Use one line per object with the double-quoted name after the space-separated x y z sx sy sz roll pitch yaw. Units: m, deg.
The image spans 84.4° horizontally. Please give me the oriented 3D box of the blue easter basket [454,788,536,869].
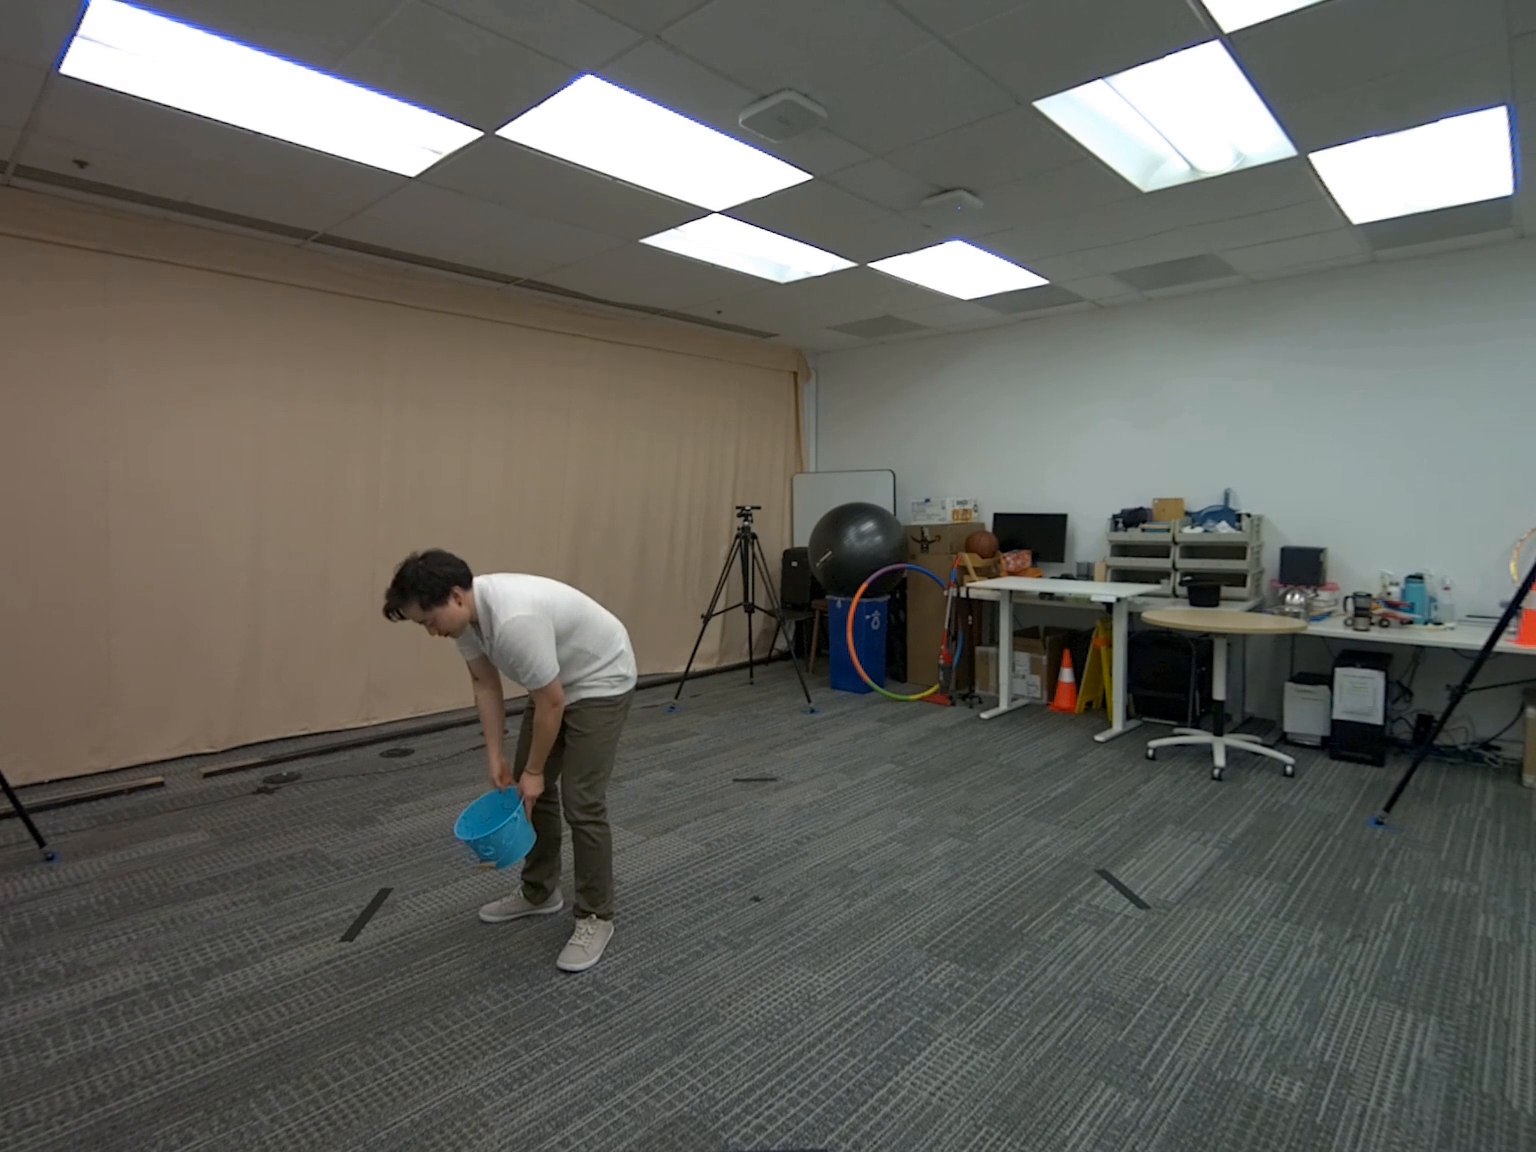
-0.849 0.800 2.651 0.245 0.153 0.247 -19 19 5 "blue easter basket"
